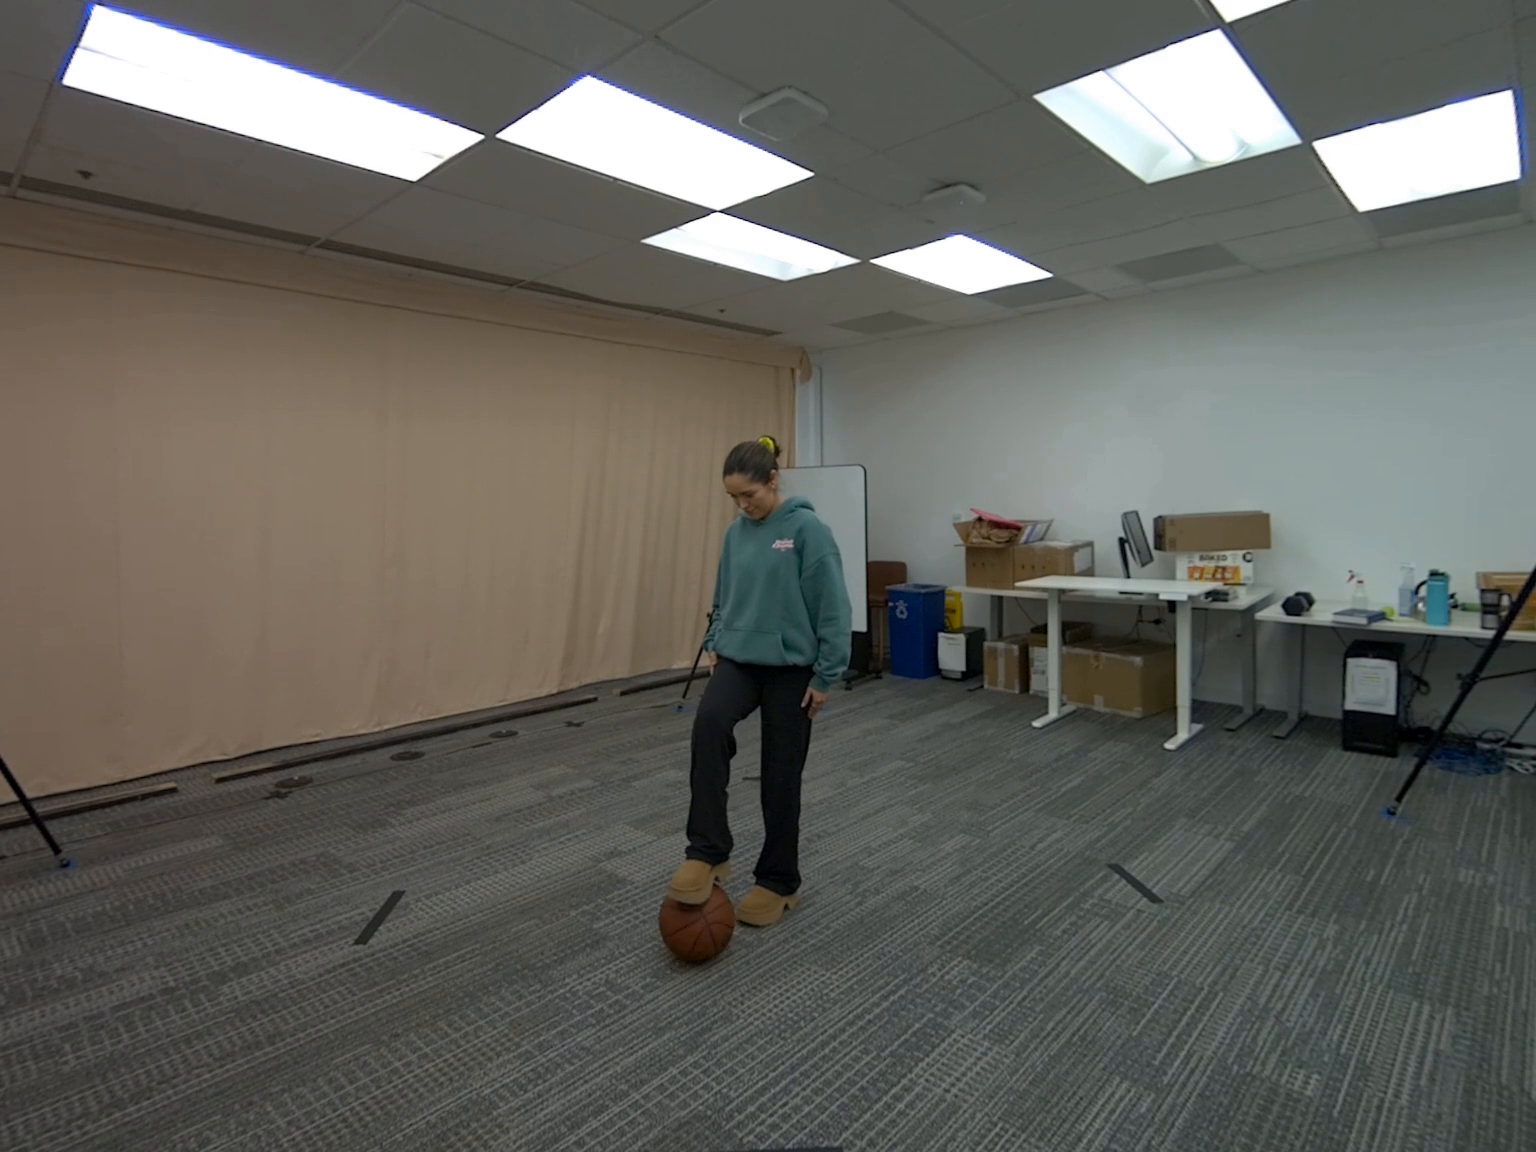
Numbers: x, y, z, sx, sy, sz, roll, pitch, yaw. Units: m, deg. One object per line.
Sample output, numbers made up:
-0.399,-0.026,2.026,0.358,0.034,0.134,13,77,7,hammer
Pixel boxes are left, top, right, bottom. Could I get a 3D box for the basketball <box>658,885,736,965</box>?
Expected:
-0.217,1.060,2.600,0.236,0.235,0.237,-1,4,-2,basketball
